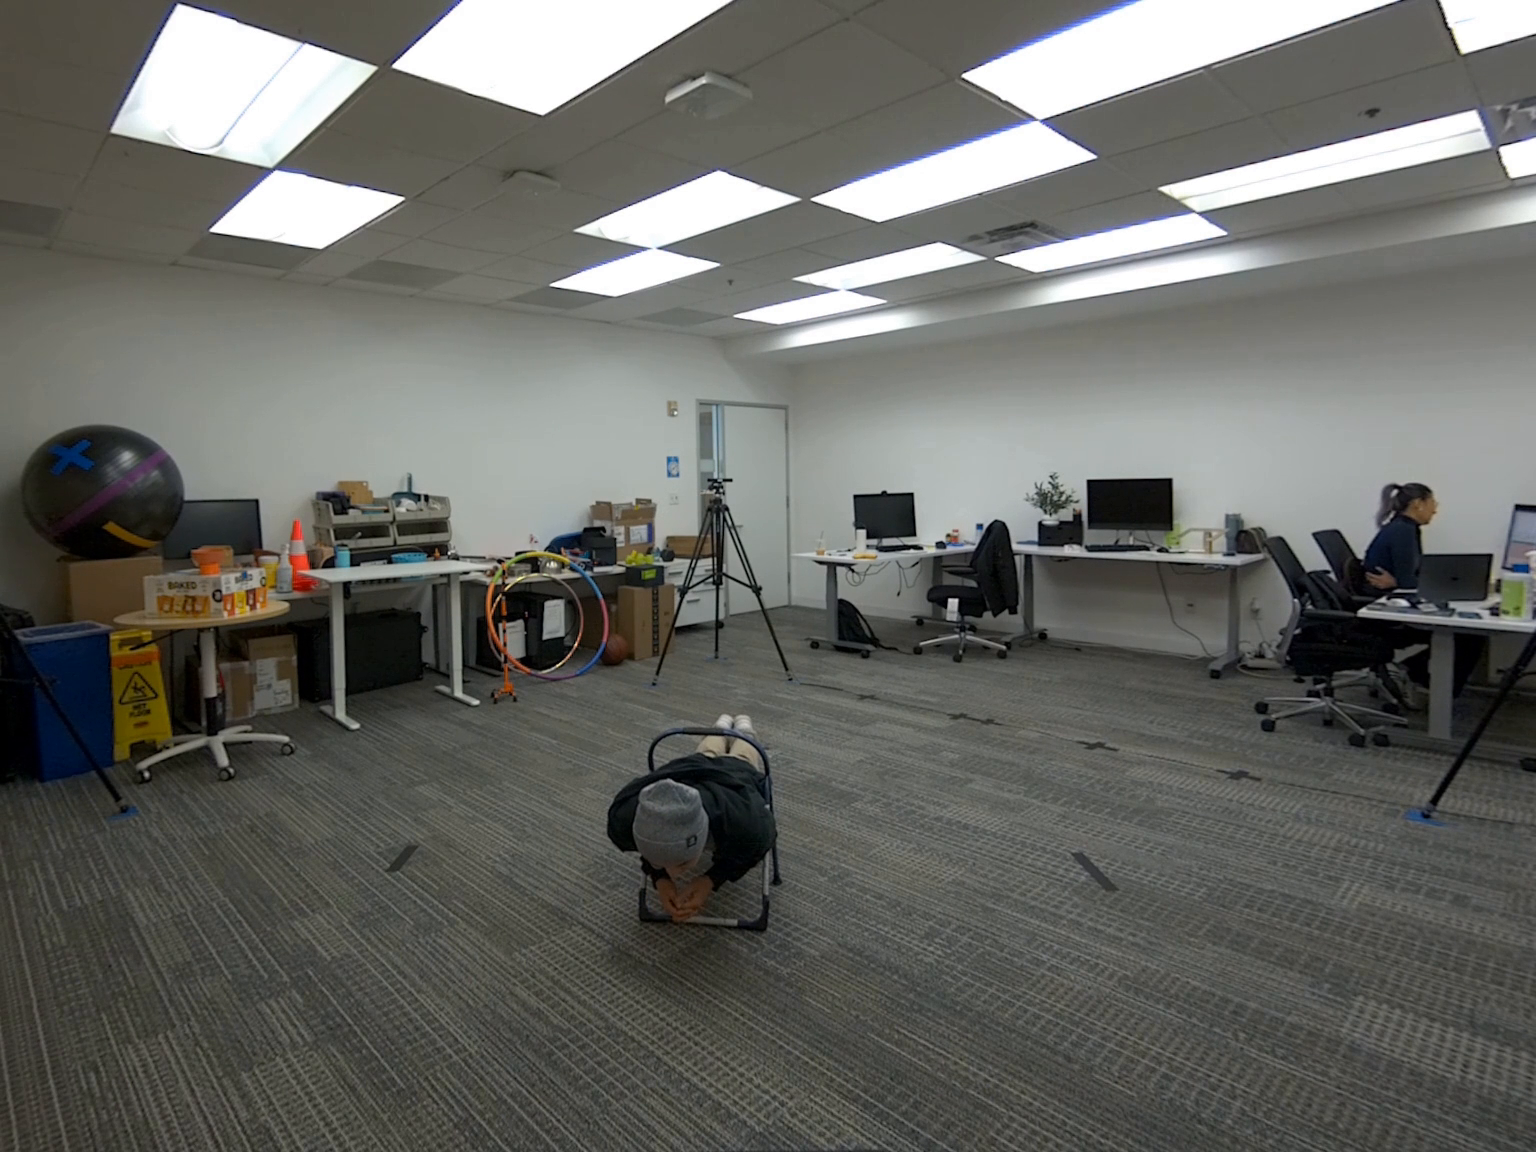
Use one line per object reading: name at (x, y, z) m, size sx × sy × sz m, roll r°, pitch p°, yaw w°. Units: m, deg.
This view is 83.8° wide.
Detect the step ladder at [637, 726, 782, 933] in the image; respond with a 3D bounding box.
step ladder at (-0.186, 0.783, 2.817) m, size 0.434 × 0.603 × 0.348 m, roll 0°, pitch 6°, yaw 8°
